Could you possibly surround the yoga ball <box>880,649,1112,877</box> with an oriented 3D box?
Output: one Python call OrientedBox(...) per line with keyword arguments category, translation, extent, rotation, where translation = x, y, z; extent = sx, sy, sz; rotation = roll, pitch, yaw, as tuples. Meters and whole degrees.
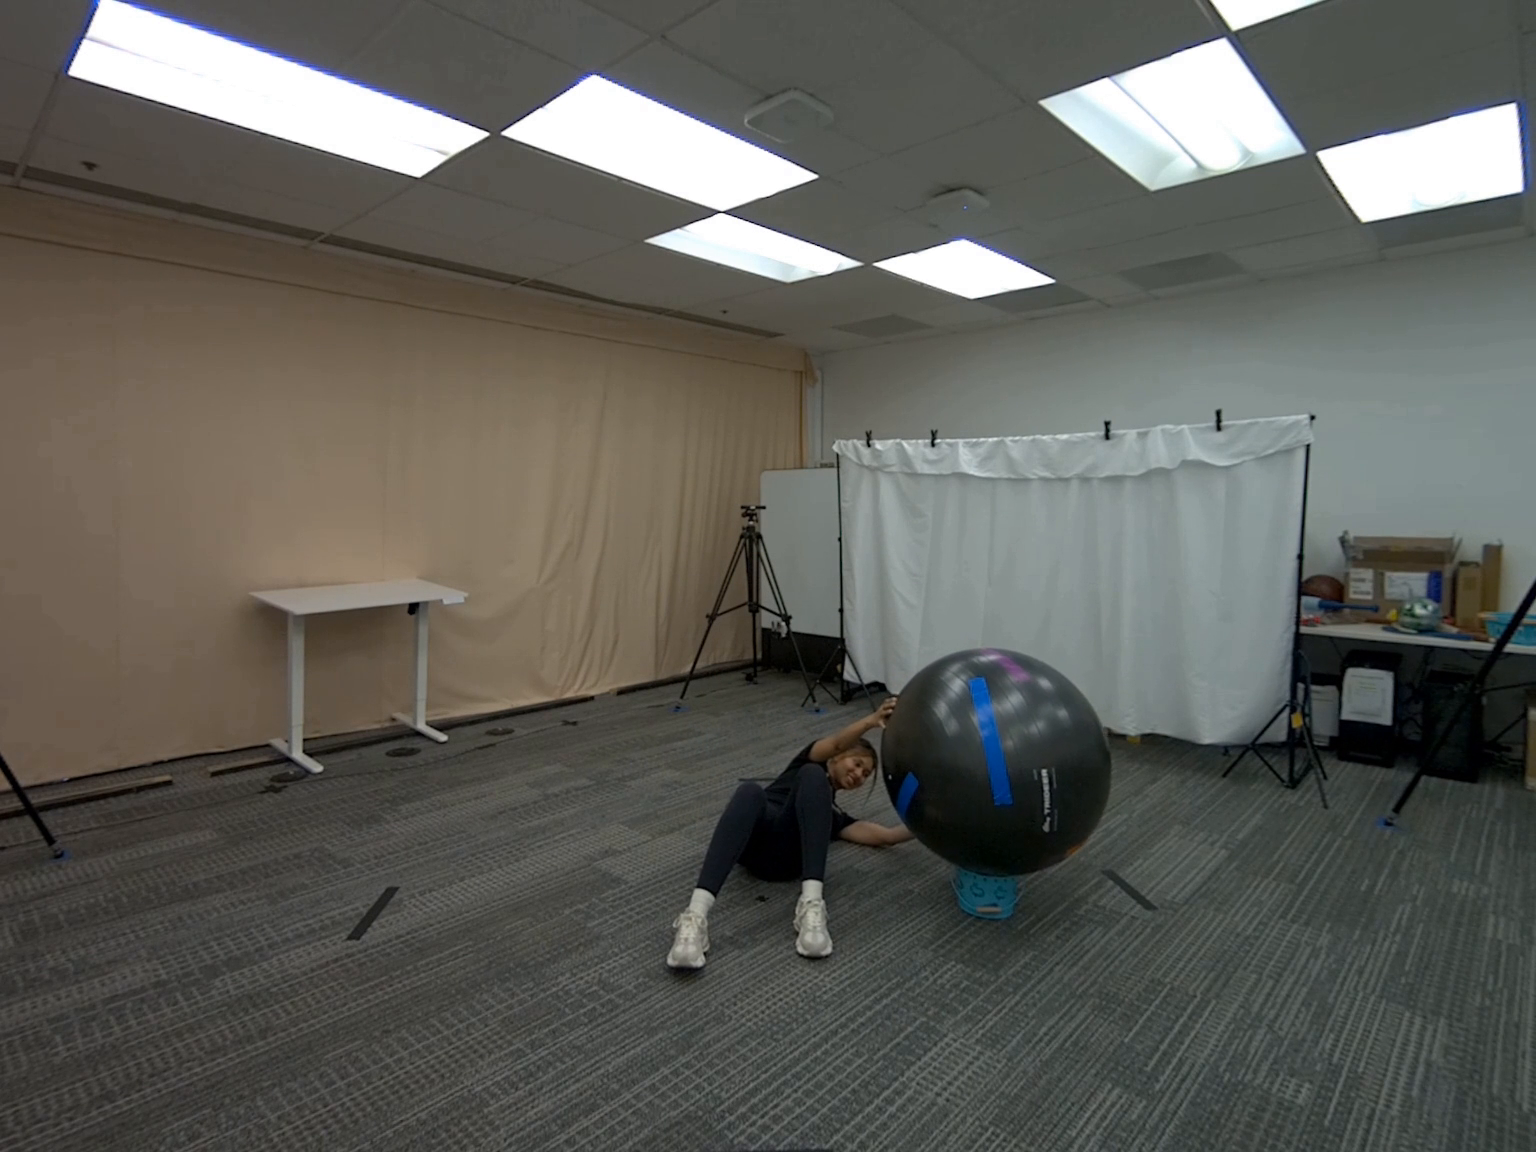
OrientedBox(category="yoga ball", translation=(0.783, 0.637, 2.915), extent=(0.757, 0.756, 0.760), rotation=(0, 4, -2))
